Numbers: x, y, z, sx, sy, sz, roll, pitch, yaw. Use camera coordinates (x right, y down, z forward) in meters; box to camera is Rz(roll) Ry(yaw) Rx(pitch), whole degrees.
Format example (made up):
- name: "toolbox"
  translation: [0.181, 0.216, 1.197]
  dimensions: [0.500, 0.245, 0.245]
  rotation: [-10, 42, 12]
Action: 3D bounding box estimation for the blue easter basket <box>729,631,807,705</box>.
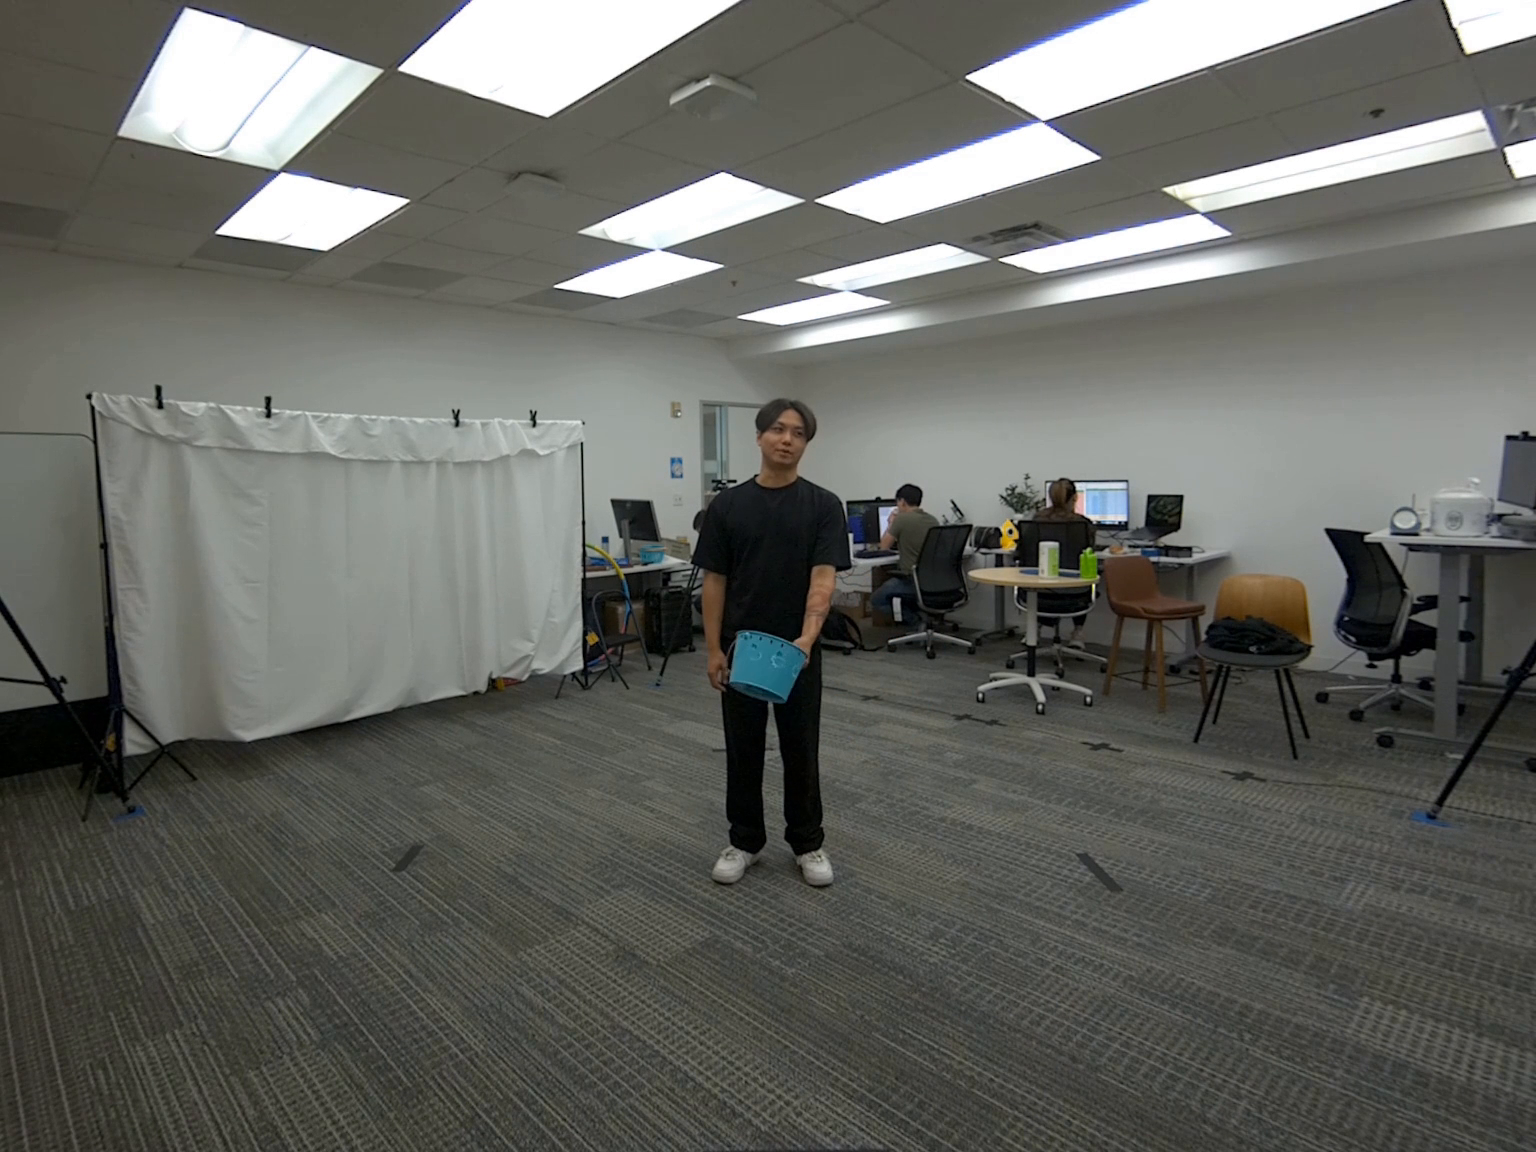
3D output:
- name: "blue easter basket"
  translation: [0.002, 0.304, 2.611]
  dimensions: [0.245, 0.157, 0.239]
  rotation: [16, -19, 4]
